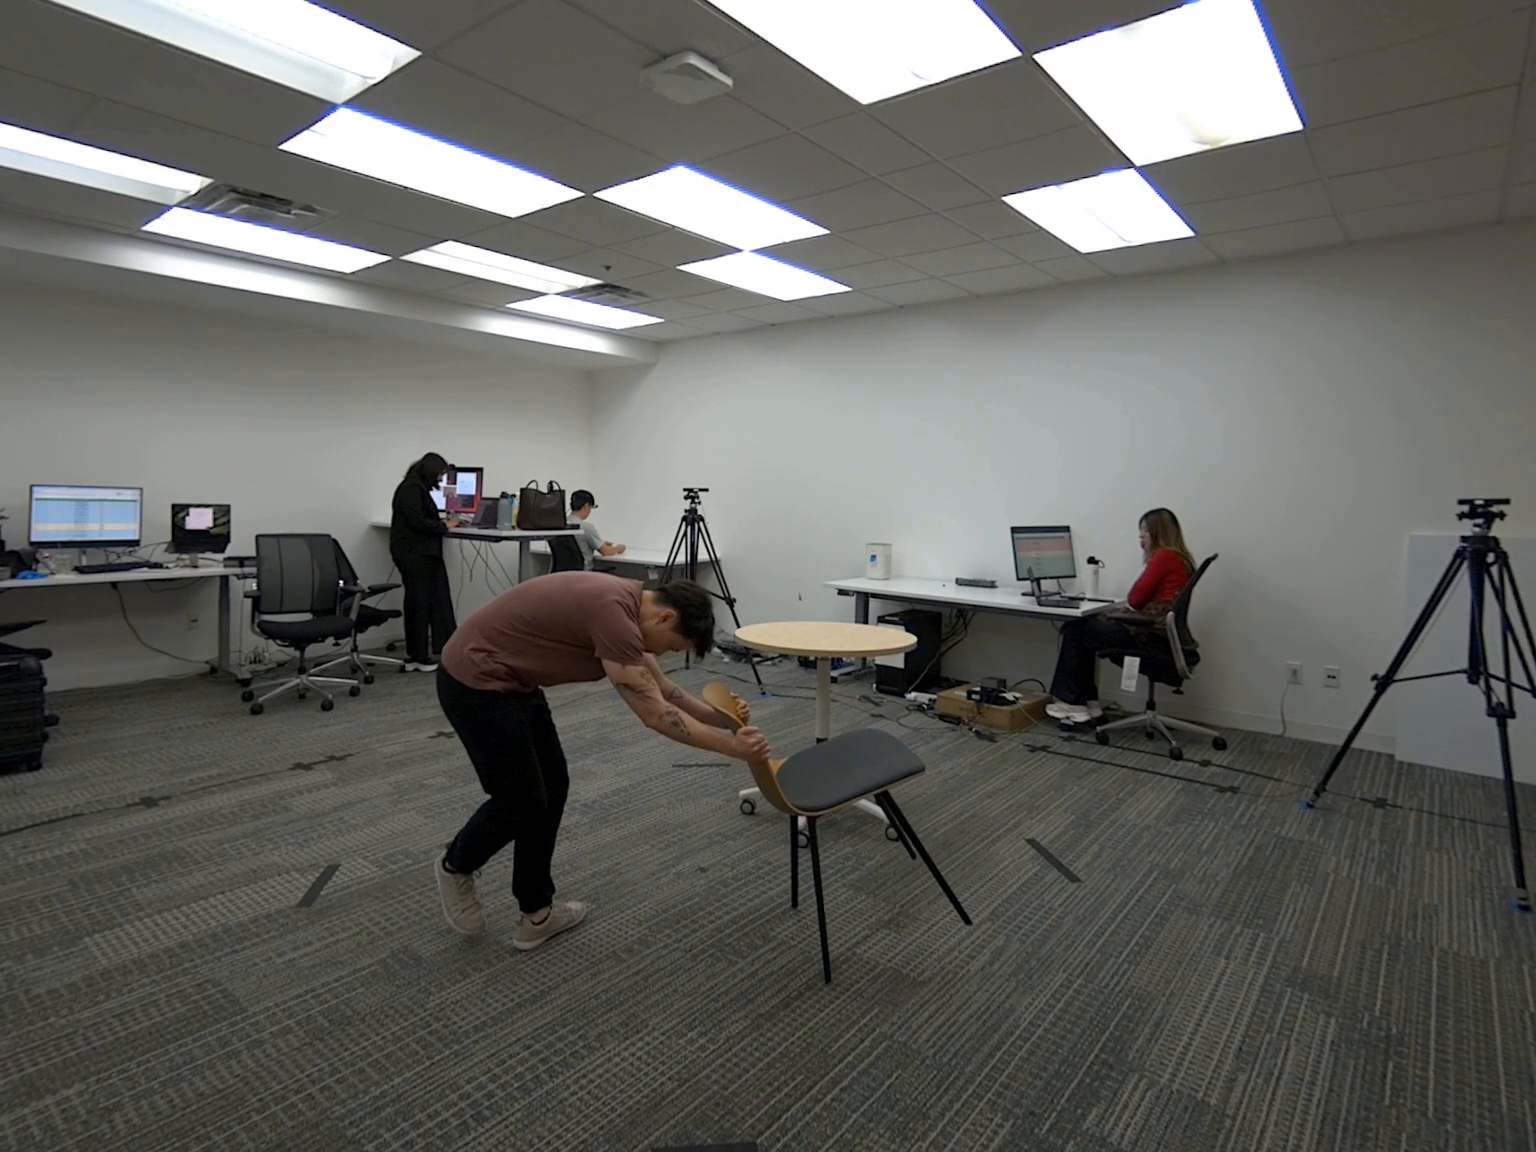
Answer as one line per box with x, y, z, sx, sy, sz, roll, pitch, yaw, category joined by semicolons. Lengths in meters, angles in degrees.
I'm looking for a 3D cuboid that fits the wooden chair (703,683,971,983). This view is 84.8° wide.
0.198;0.654;2.593;0.521;0.872;0.483;-23;5;-5;wooden chair
